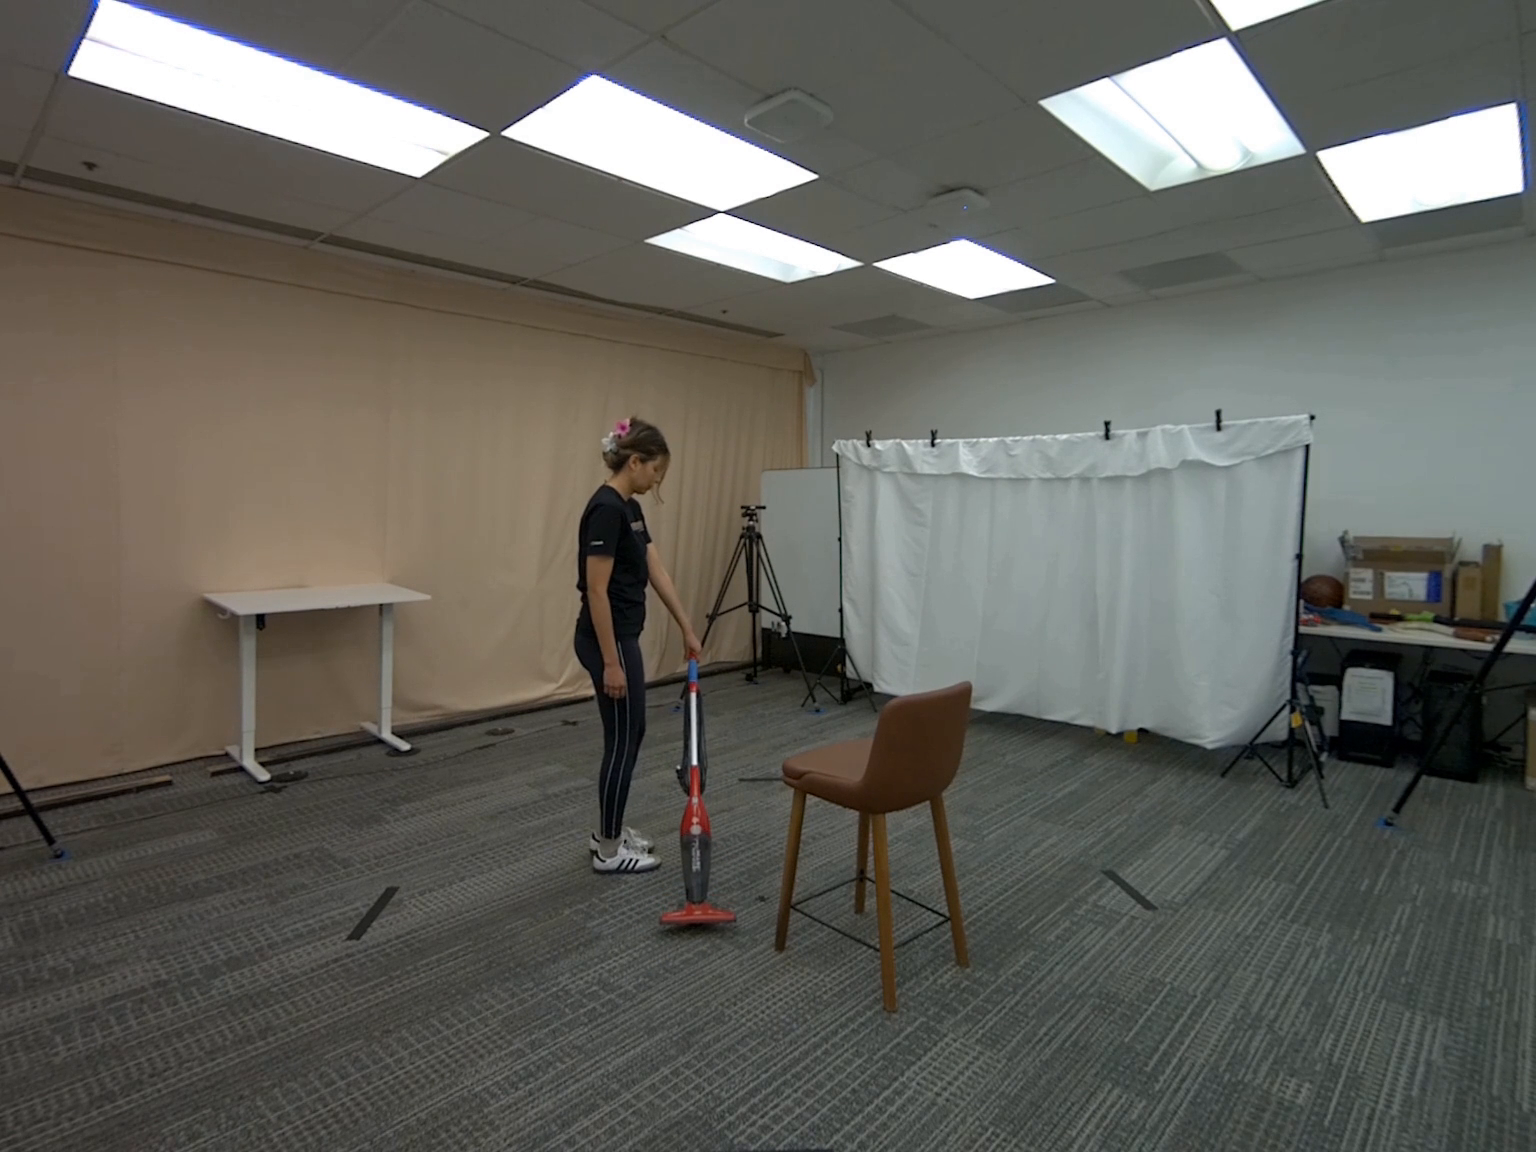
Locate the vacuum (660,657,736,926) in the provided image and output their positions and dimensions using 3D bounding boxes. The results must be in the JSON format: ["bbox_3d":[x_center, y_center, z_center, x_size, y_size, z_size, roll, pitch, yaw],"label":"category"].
[{"bbox_3d":[-0.267,0.720,3.111,0.252,1.070,0.142,-1,-38,-4],"label":"vacuum"}]
